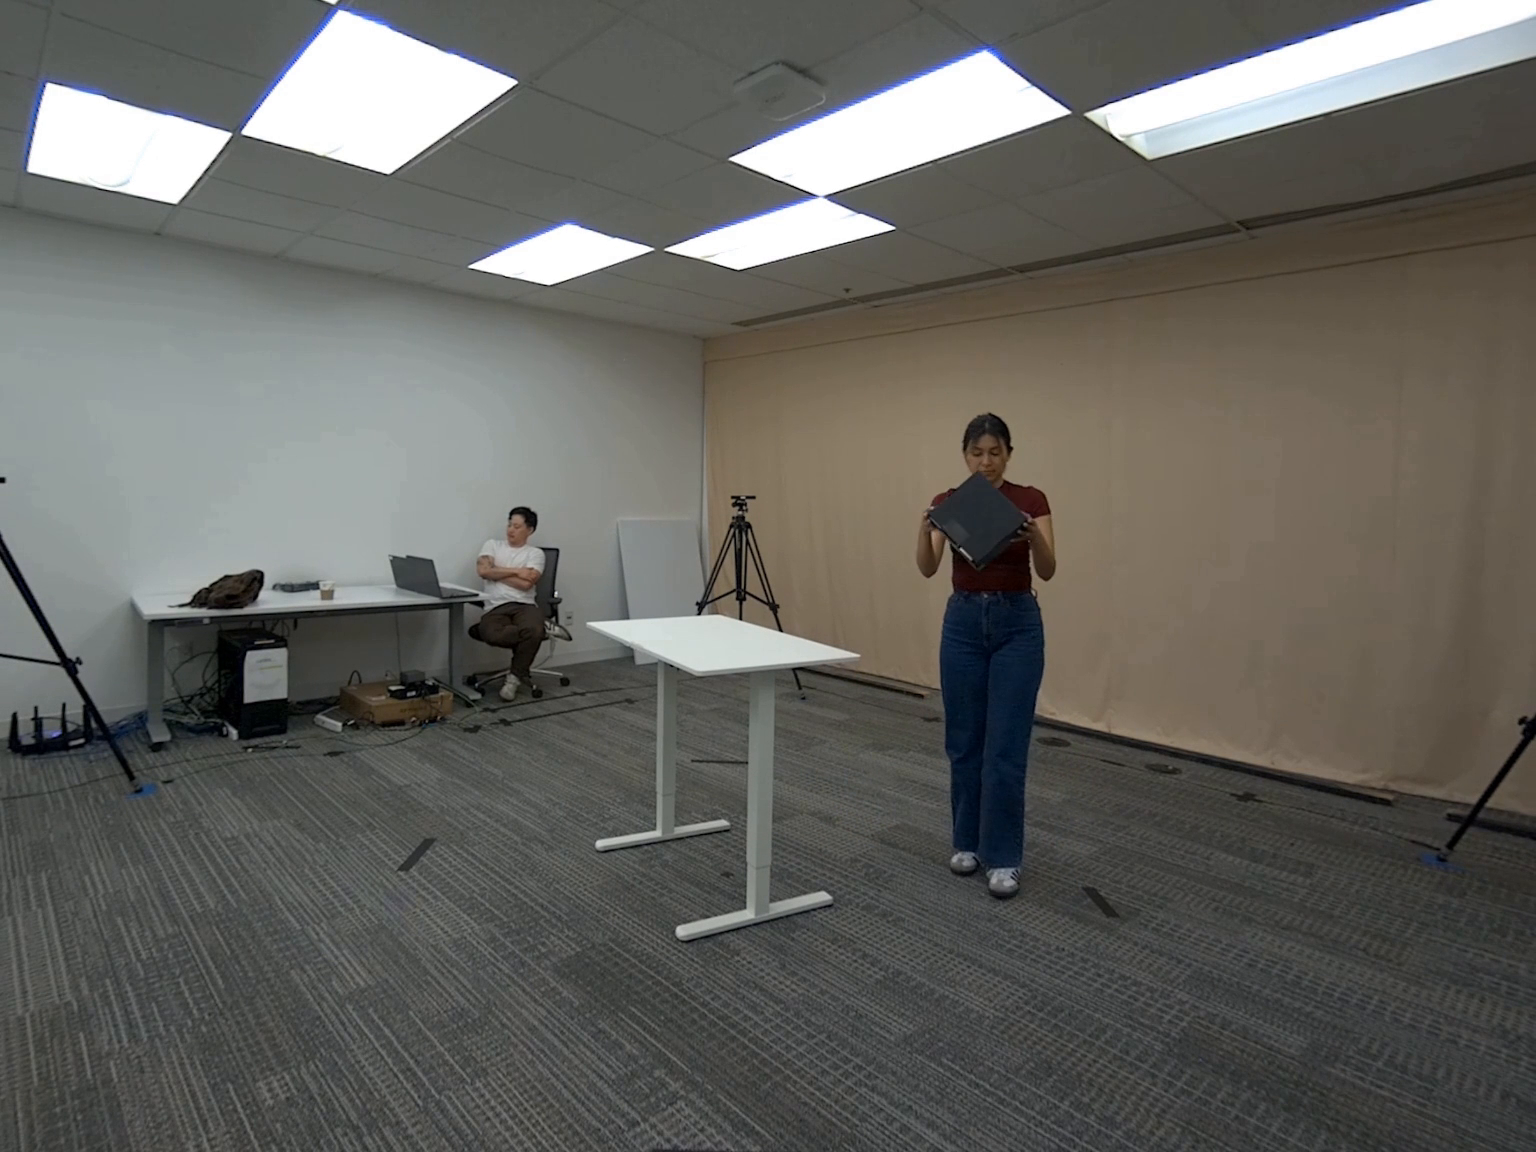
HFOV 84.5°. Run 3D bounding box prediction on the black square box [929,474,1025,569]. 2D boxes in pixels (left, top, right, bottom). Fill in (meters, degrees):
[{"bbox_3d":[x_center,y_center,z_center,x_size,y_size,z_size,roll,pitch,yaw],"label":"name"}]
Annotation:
[{"bbox_3d":[0.673,-0.175,2.735,0.217,0.232,0.152,-42,-19,9],"label":"black square box"}]
